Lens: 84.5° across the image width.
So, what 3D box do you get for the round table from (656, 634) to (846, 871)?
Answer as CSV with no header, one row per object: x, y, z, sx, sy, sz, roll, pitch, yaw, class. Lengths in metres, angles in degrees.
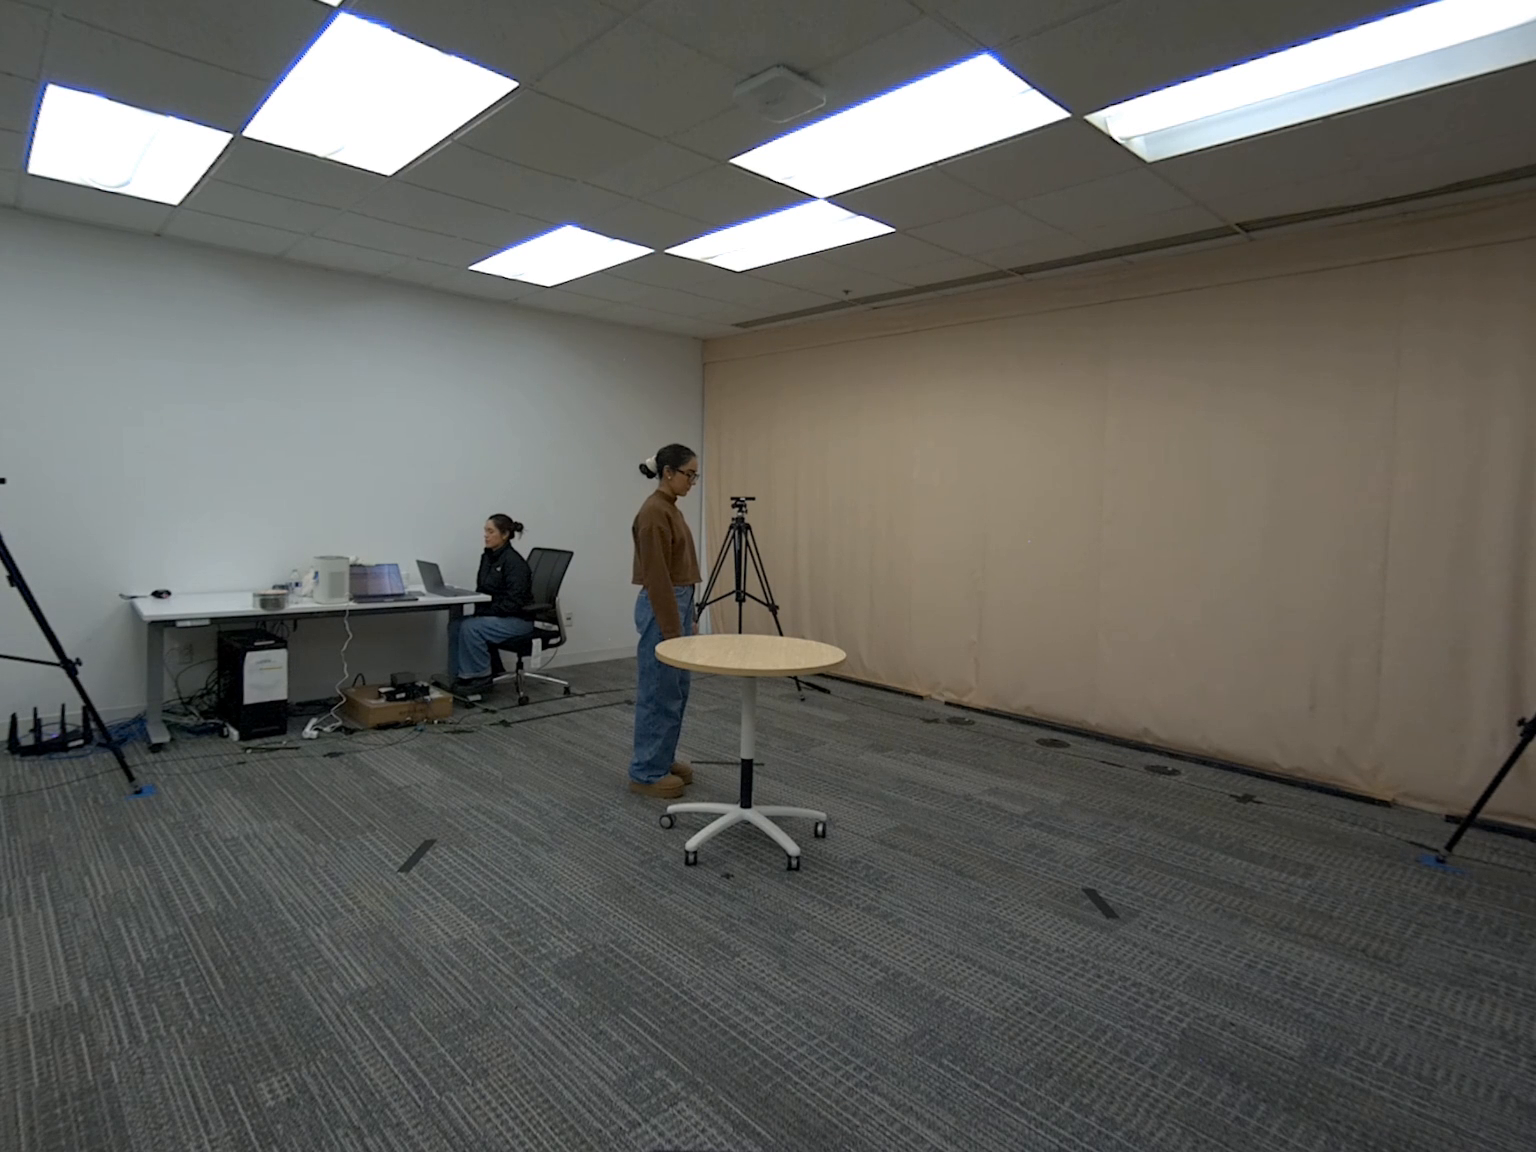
-0.087,0.692,3.404,0.763,0.792,0.766,1,4,-1,round table
